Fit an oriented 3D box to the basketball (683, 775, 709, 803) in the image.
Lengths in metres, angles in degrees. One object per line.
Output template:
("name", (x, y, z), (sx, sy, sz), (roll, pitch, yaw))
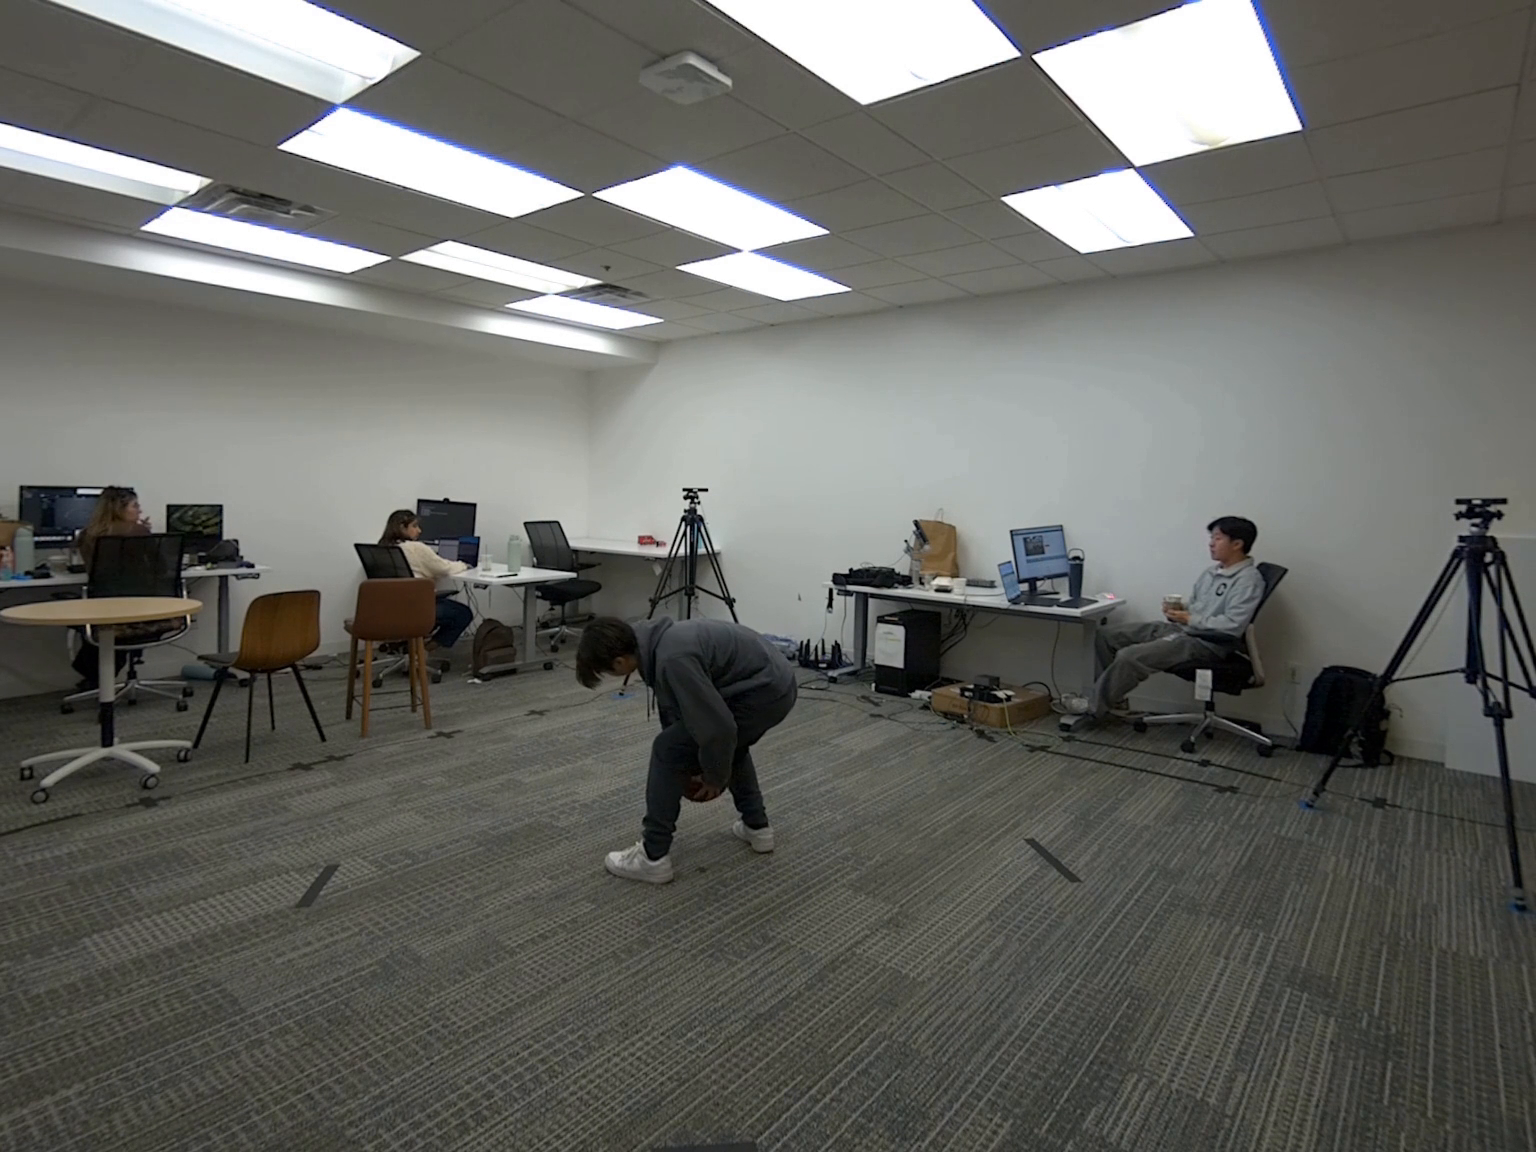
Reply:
("basketball", (-0.265, 0.725, 3.270), (0.235, 0.235, 0.237), (1, 4, -2))
